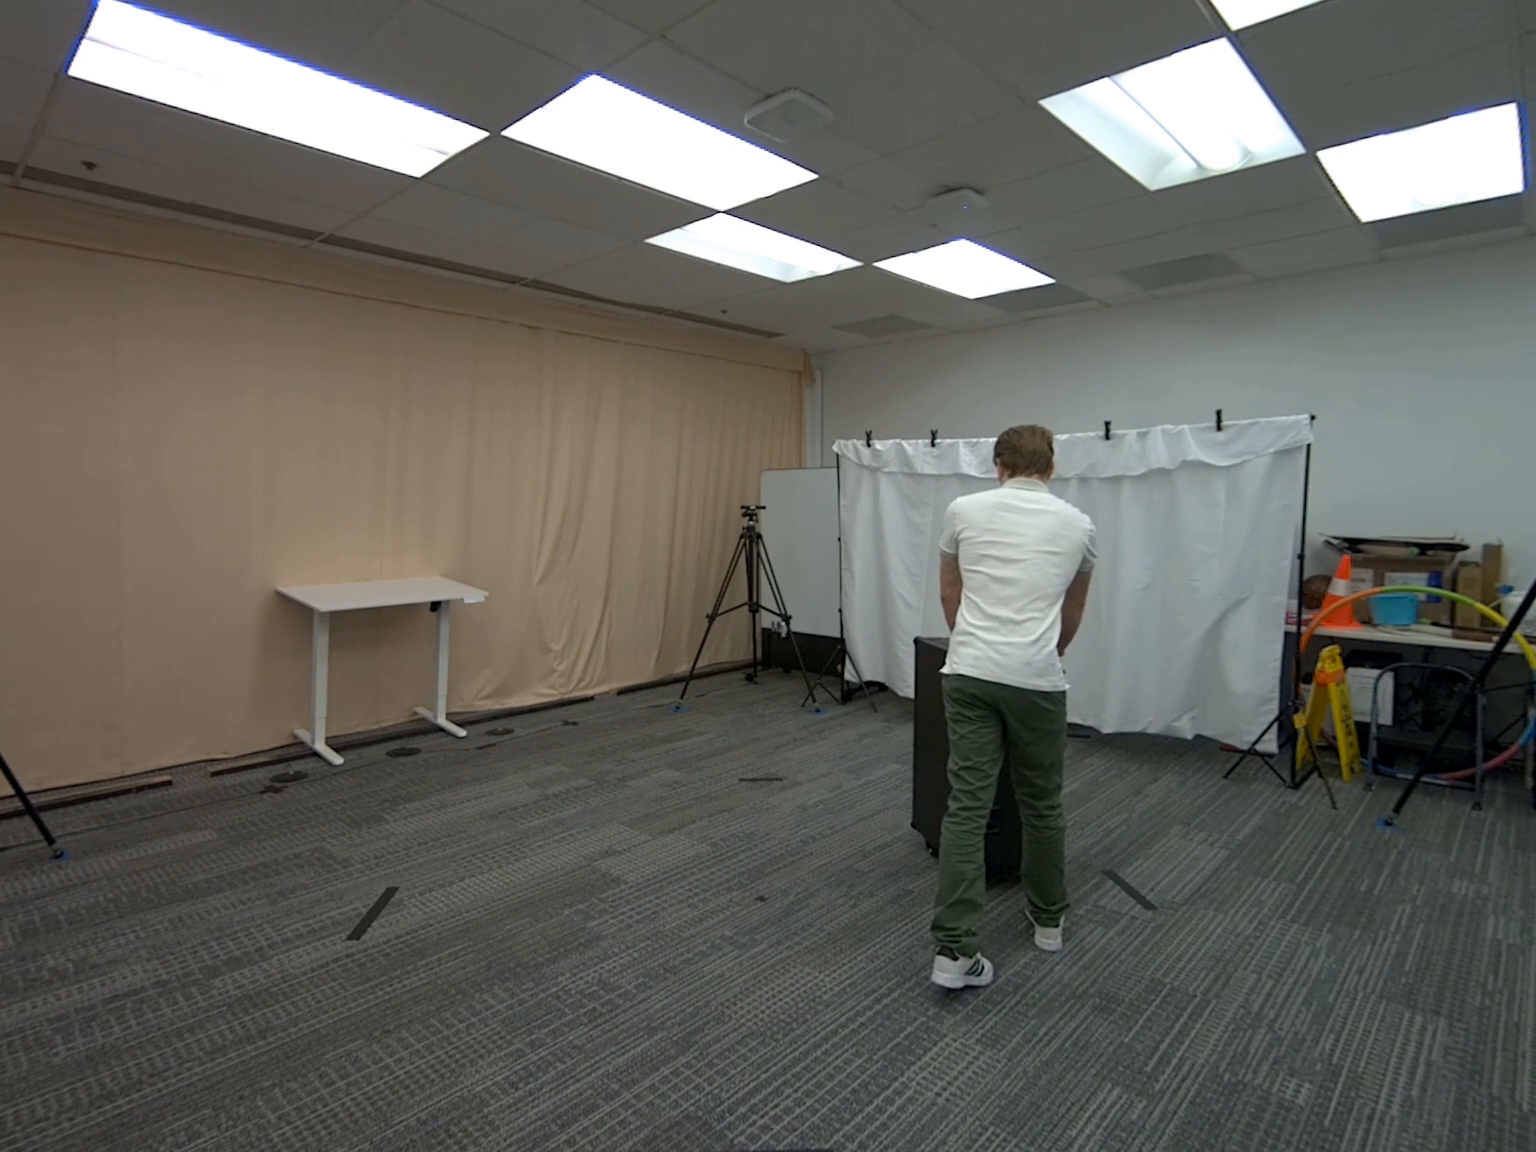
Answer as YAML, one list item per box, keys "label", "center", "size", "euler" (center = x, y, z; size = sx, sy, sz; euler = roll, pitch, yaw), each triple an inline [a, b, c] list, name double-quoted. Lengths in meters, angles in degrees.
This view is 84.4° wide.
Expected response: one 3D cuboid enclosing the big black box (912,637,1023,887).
- label: "big black box"
  center: [0.828, 0.700, 3.251]
  size: [0.381, 0.866, 0.530]
  euler: [0, 4, -11]
